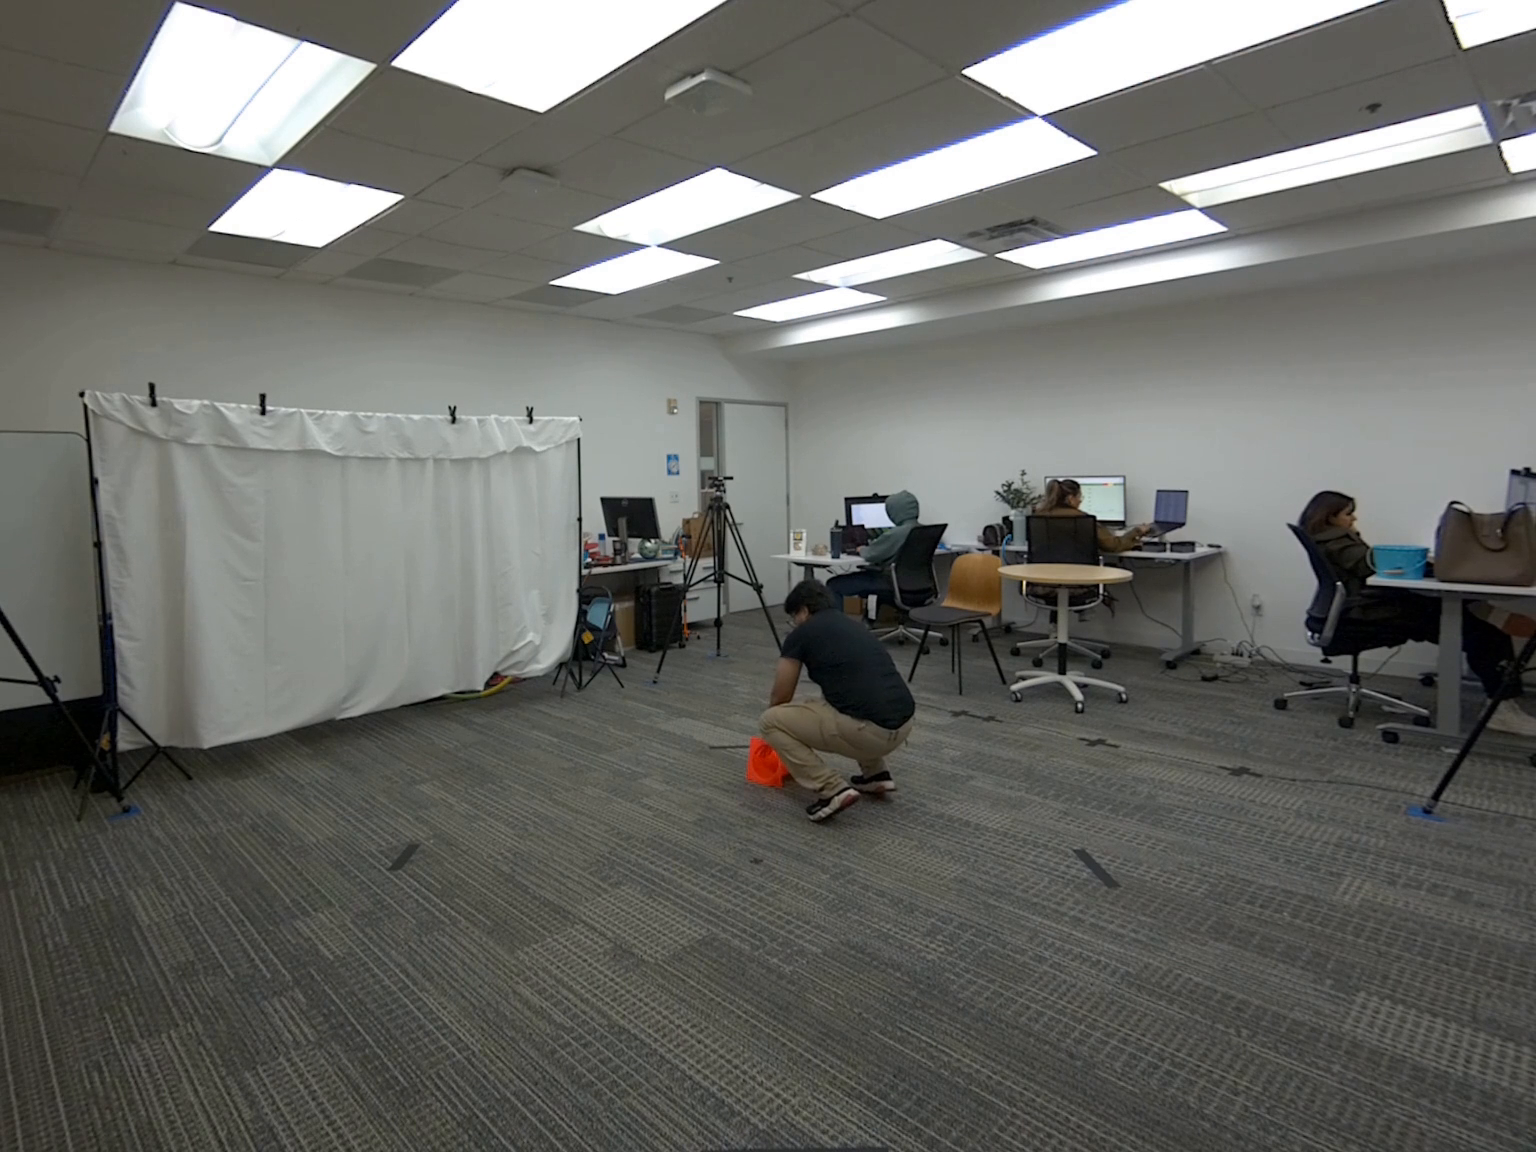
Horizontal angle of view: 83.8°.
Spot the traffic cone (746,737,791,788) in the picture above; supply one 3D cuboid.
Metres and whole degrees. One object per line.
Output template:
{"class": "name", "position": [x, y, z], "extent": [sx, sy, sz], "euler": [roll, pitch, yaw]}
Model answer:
{"class": "traffic cone", "position": [0.110, 0.869, 4.035], "extent": [0.210, 0.205, 0.371], "euler": [5, -3, 42]}
